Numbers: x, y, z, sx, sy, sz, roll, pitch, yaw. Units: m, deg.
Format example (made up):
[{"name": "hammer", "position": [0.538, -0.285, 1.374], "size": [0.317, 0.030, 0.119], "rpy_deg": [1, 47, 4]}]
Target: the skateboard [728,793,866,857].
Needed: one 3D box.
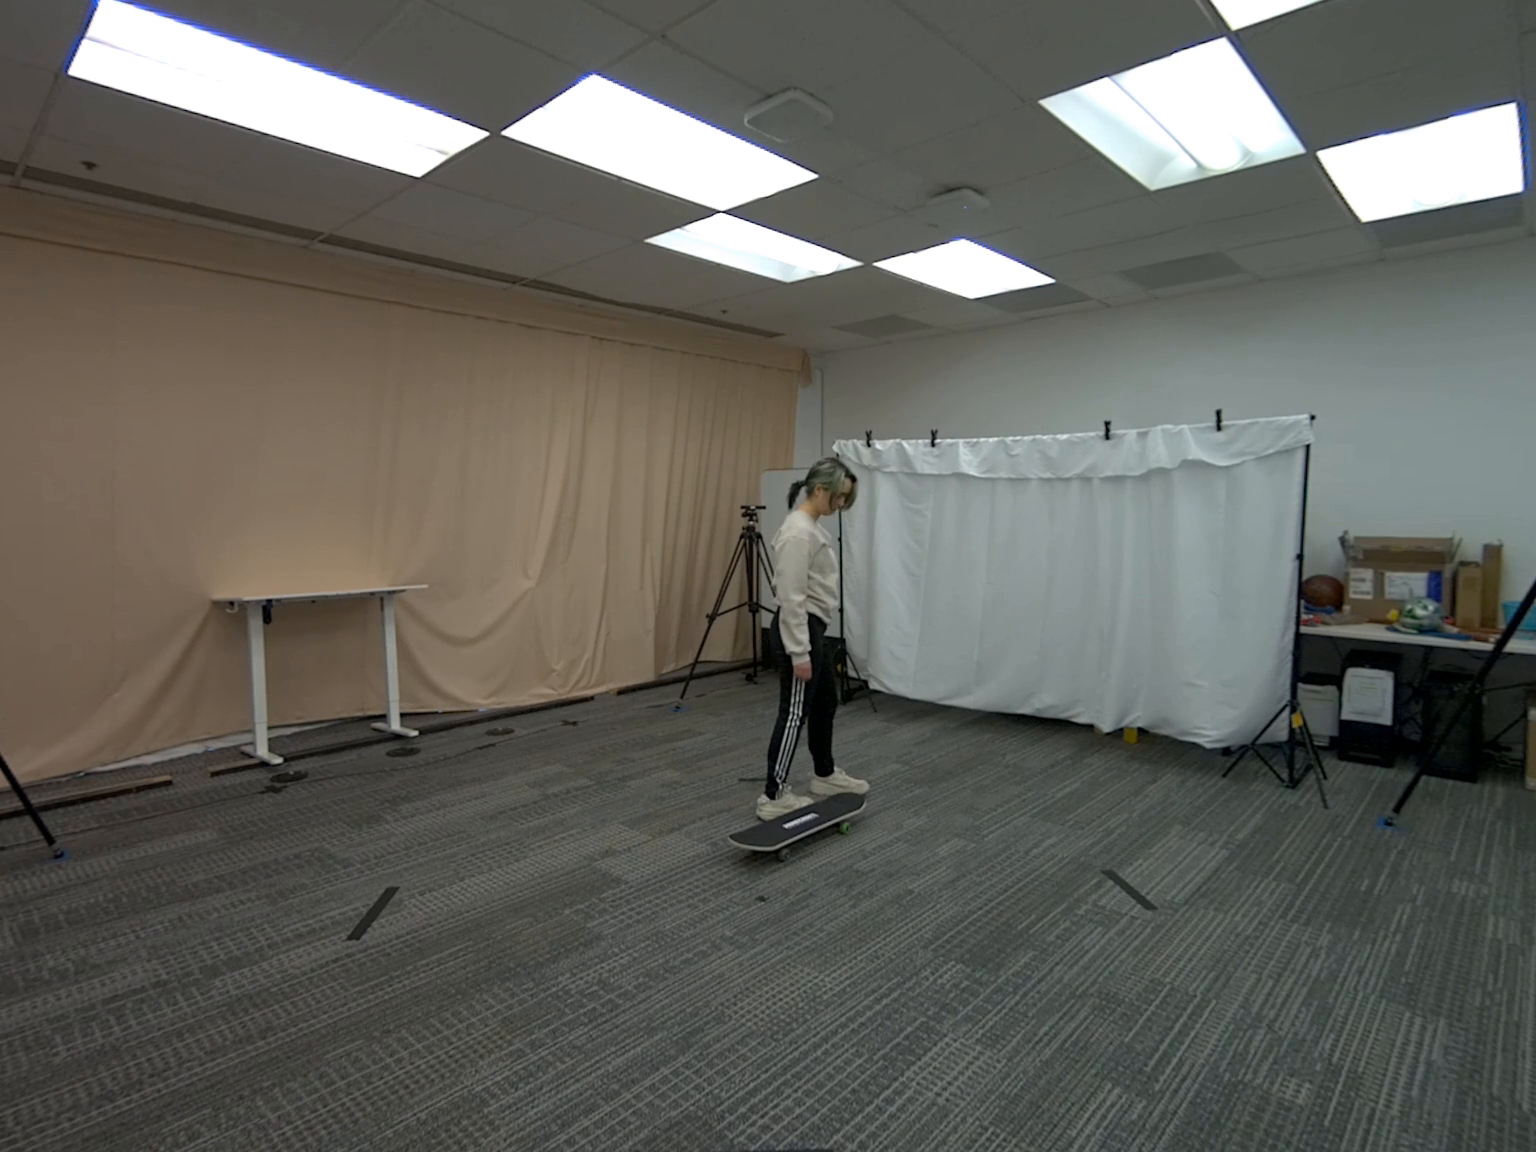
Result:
[{"name": "skateboard", "position": [0.138, 1.048, 3.491], "size": [0.200, 0.110, 0.761], "rpy_deg": [5, 6, 44]}]
